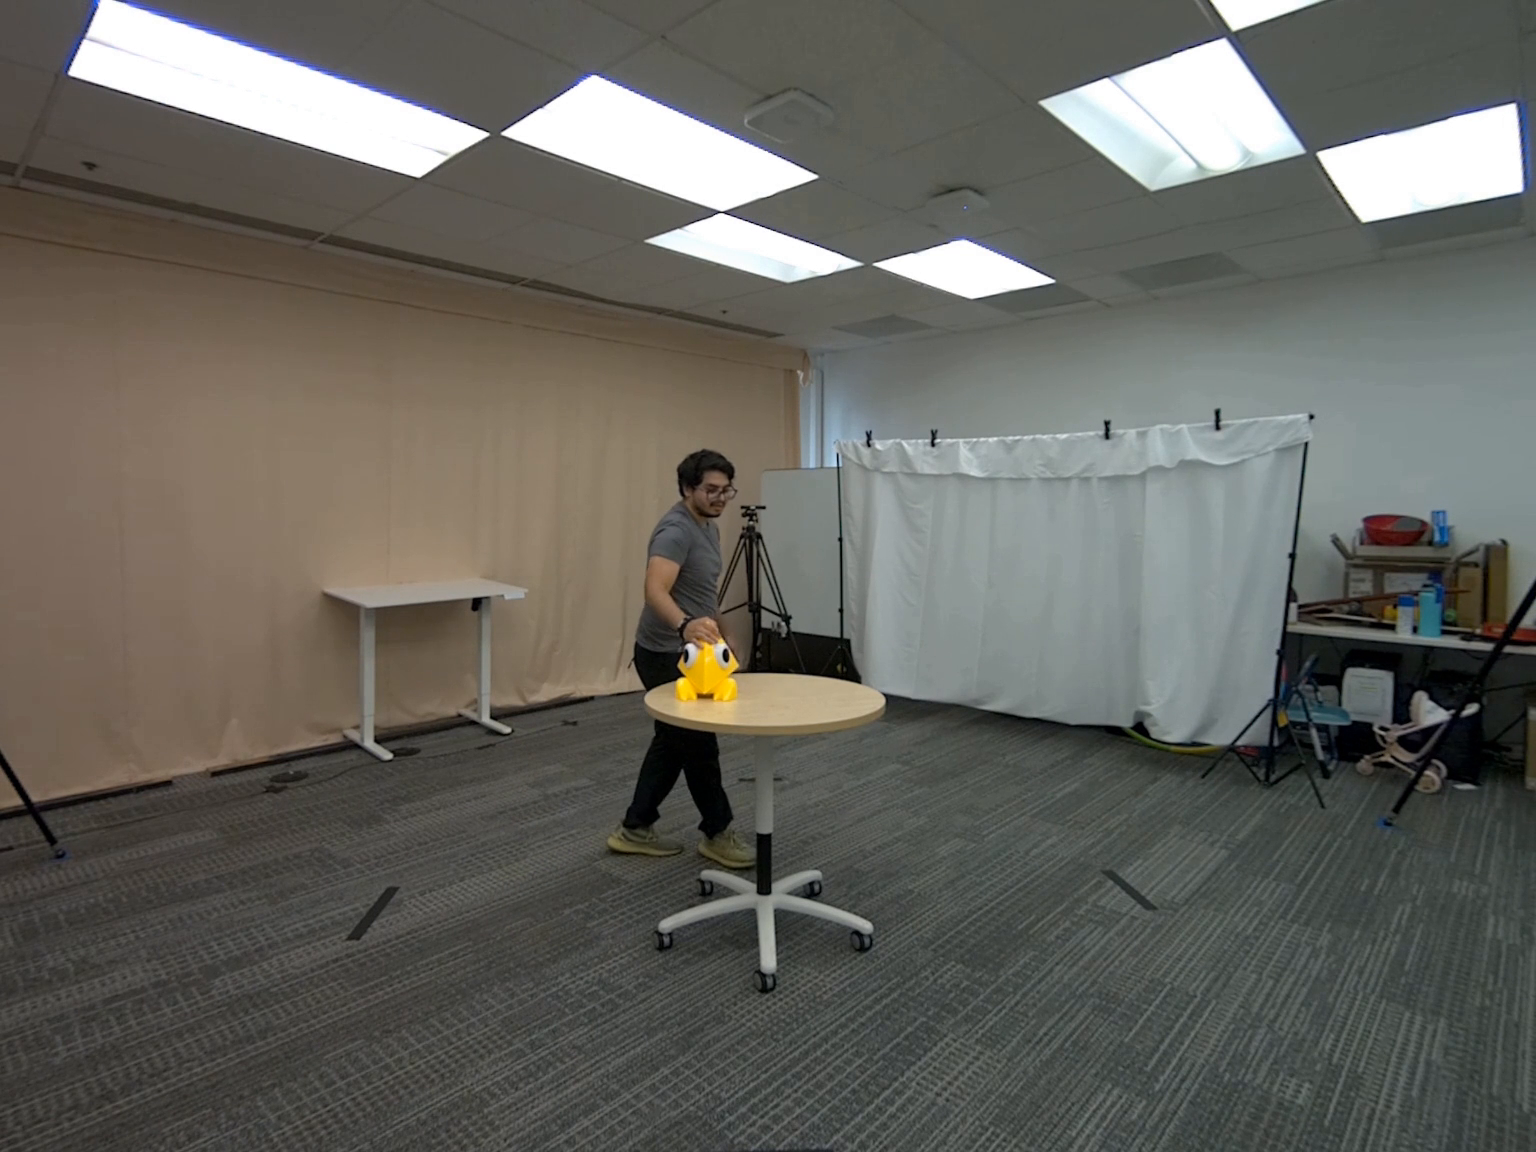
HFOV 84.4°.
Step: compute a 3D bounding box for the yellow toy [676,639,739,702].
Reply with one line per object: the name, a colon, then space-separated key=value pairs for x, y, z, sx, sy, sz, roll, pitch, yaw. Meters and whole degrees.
yellow toy: x=-0.196 y=0.270 z=2.710 sx=0.205 sy=0.230 sz=0.193 roll=0 pitch=3 yaw=2
